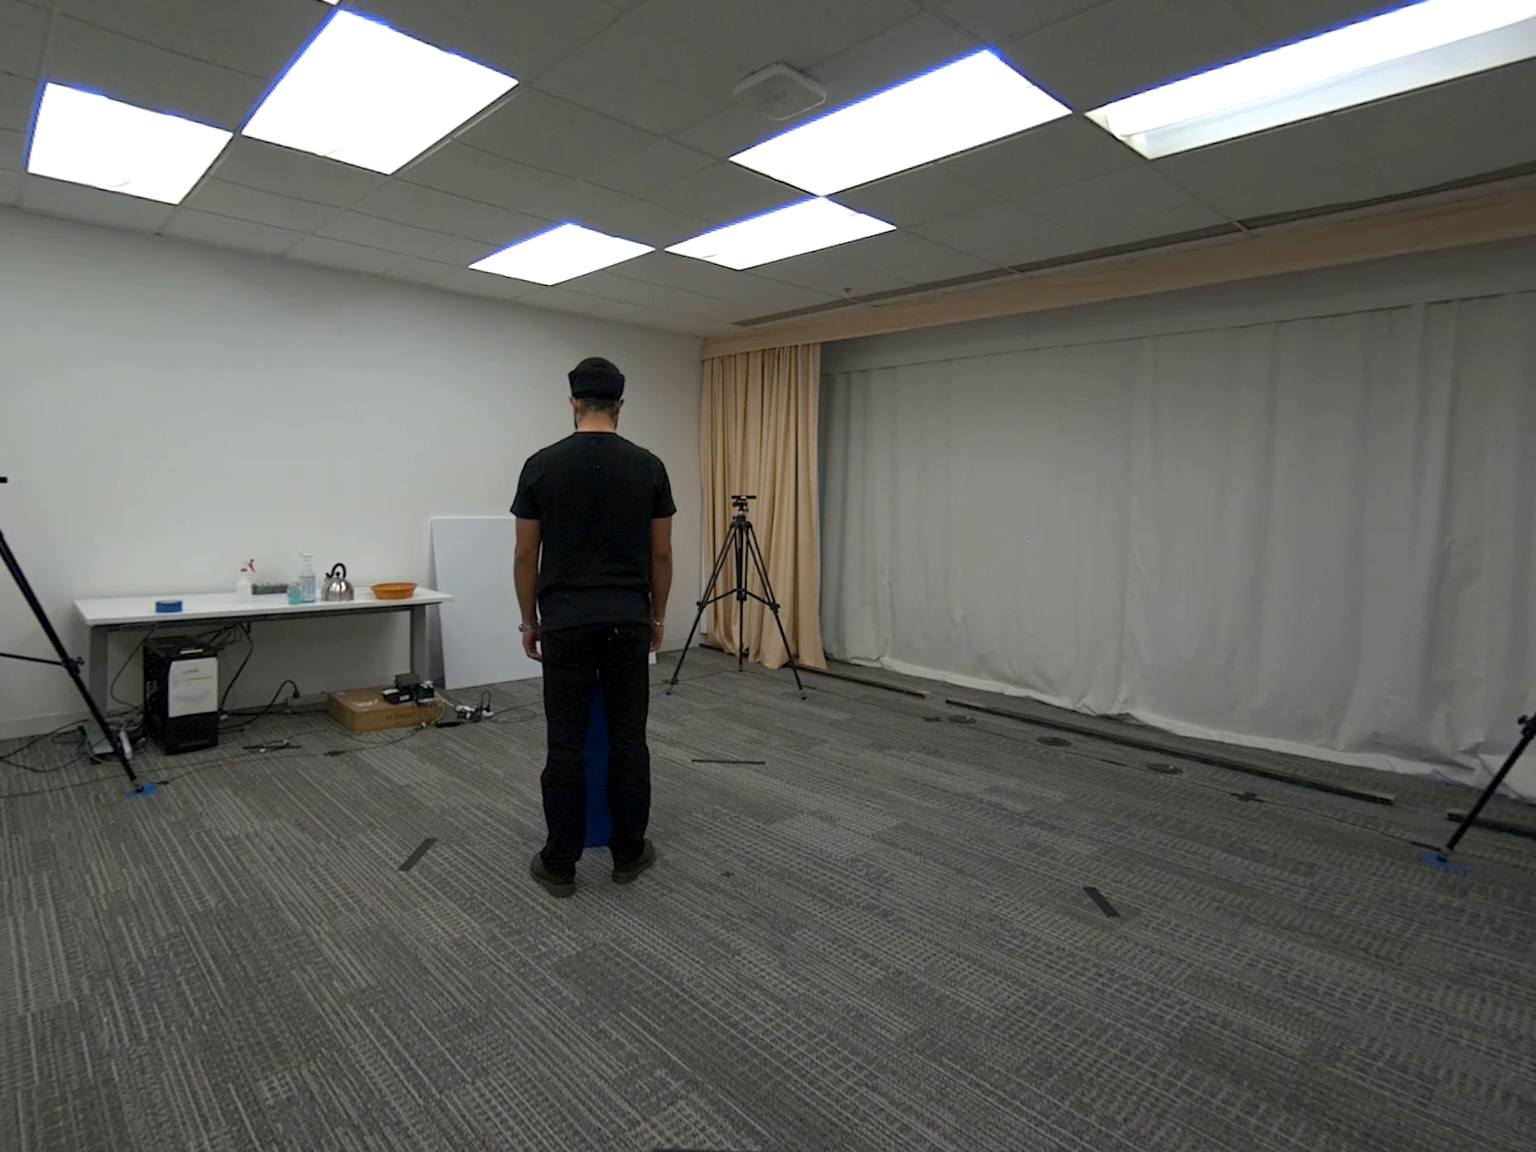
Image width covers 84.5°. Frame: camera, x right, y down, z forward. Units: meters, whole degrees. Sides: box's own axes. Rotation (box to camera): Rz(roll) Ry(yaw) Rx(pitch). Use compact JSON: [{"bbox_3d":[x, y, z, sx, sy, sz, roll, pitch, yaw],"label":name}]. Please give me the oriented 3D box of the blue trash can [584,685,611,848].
[{"bbox_3d":[-0.737,0.704,3.432,0.374,0.712,0.379,0,4,-15],"label":"blue trash can"}]
